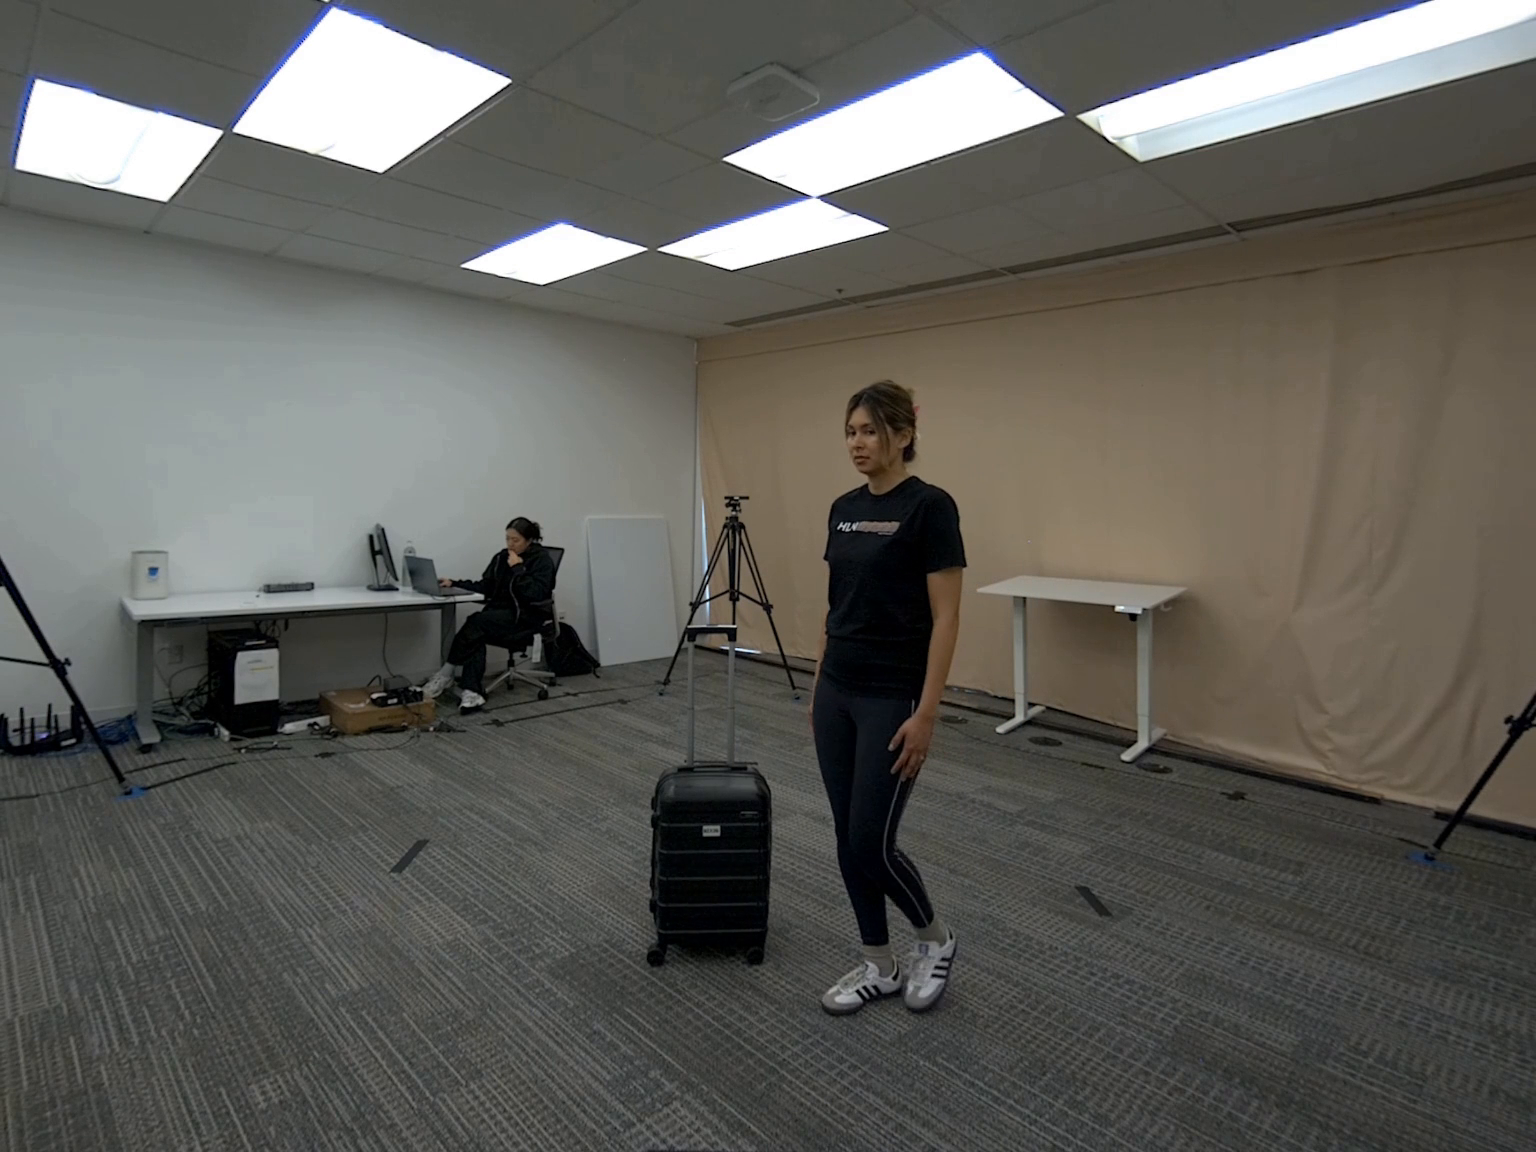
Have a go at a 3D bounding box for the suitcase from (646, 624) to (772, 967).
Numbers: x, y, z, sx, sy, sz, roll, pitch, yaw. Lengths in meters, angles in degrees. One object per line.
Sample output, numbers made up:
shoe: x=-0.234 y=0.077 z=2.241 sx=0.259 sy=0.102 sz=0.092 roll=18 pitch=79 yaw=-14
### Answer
suitcase: x=-0.176 y=0.676 z=2.587 sx=0.383 sy=0.975 sz=0.259 roll=1 pitch=5 yaw=-4
